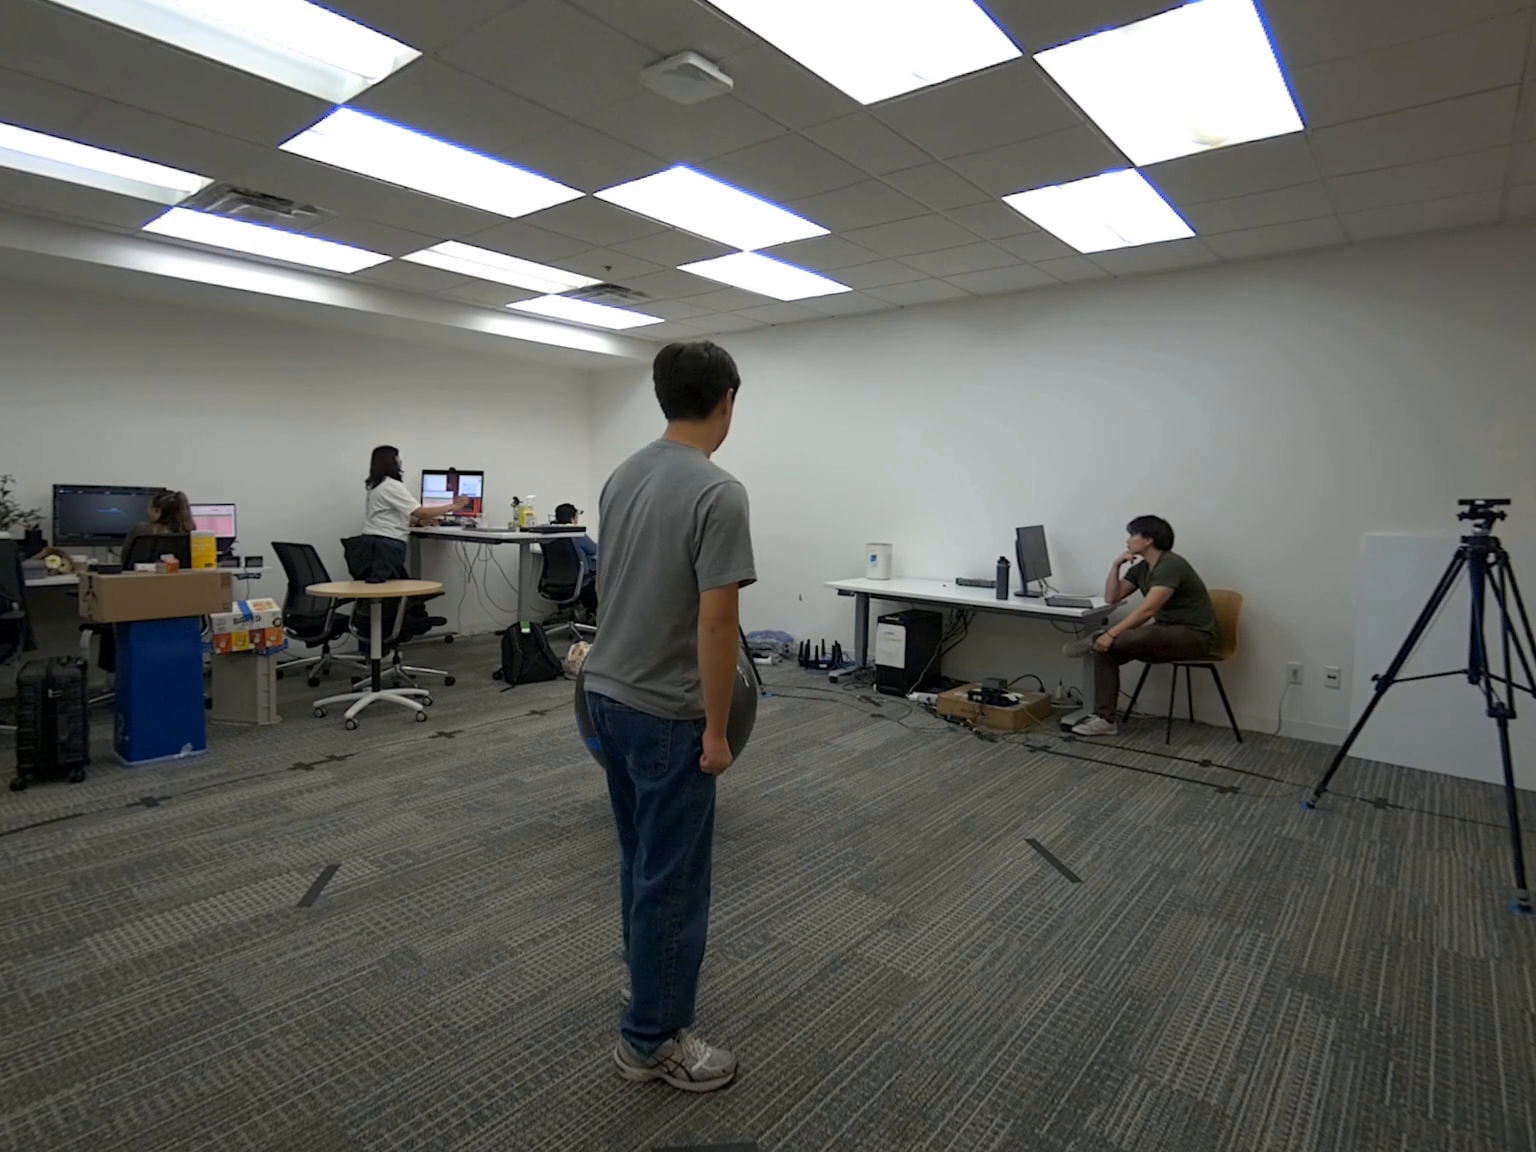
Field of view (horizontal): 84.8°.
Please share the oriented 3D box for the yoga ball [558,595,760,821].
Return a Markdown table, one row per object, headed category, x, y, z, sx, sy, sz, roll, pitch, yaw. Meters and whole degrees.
| category | x | y | z | sx | sy | sz | roll | pitch | yaw |
| --- | --- | --- | --- | --- | --- | --- | --- | --- | --- |
| yoga ball | -0.441 | 0.509 | 3.565 | 0.757 | 0.756 | 0.761 | 1 | 4 | -2 |
